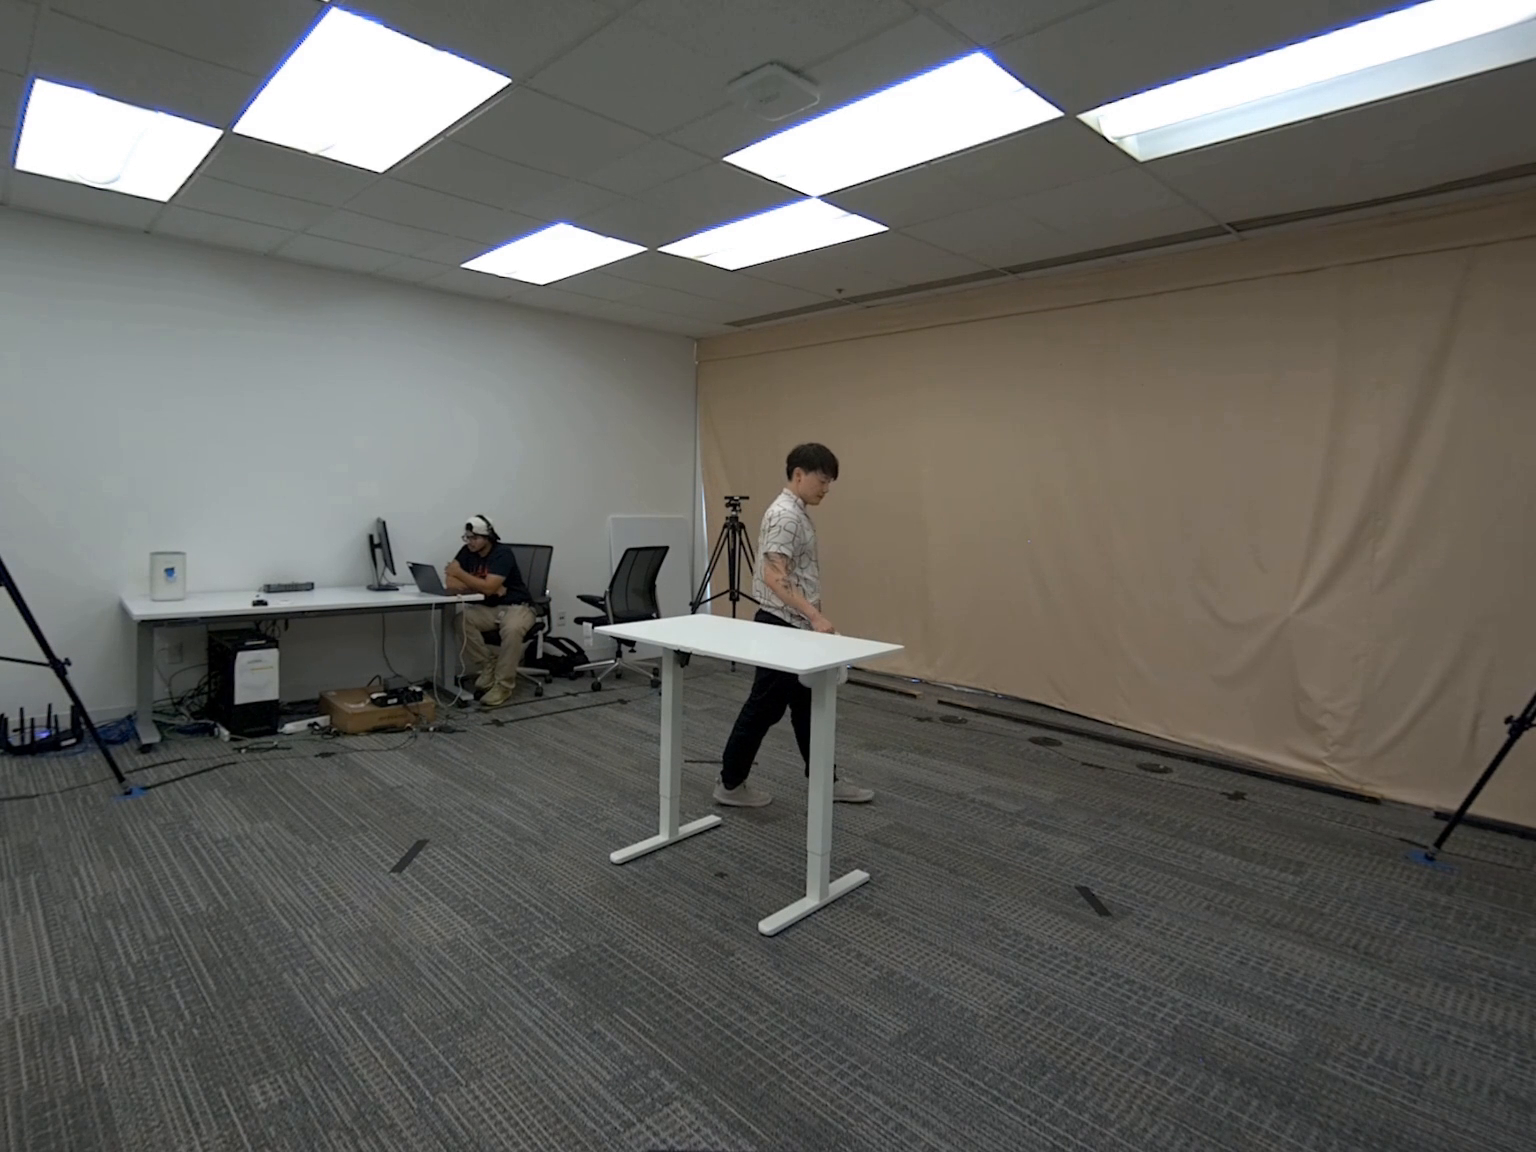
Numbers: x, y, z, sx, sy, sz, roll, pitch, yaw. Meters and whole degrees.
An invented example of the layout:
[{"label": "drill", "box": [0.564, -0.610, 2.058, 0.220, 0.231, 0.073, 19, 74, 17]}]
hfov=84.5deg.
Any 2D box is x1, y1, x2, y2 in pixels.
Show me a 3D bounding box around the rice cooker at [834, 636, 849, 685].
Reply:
[{"label": "rice cooker", "box": [0.215, 0.336, 3.513, 0.217, 0.231, 0.222, -7, 8, -21]}]
